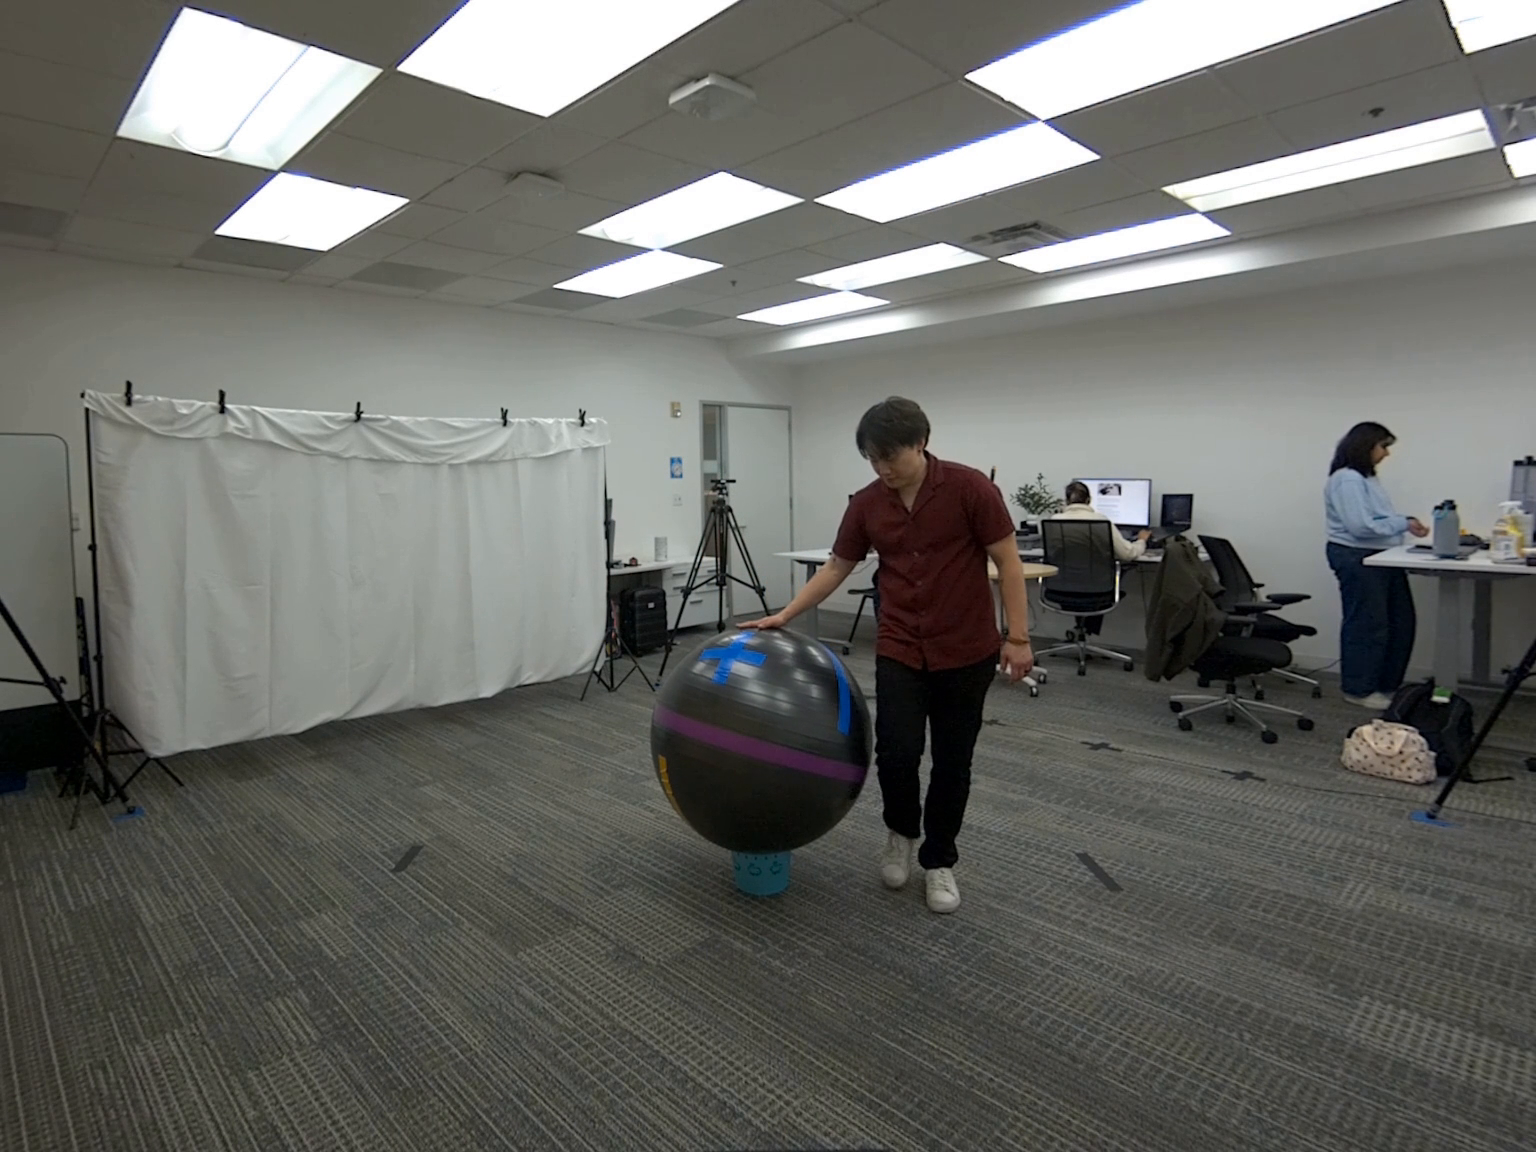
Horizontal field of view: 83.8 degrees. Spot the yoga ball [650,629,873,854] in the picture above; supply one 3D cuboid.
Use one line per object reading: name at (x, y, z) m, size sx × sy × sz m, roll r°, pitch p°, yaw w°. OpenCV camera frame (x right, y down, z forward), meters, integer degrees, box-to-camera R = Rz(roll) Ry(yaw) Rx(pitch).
yoga ball at (-0.033, 0.563, 2.945) m, size 0.757 × 0.755 × 0.762 m, roll -1°, pitch 5°, yaw -2°
